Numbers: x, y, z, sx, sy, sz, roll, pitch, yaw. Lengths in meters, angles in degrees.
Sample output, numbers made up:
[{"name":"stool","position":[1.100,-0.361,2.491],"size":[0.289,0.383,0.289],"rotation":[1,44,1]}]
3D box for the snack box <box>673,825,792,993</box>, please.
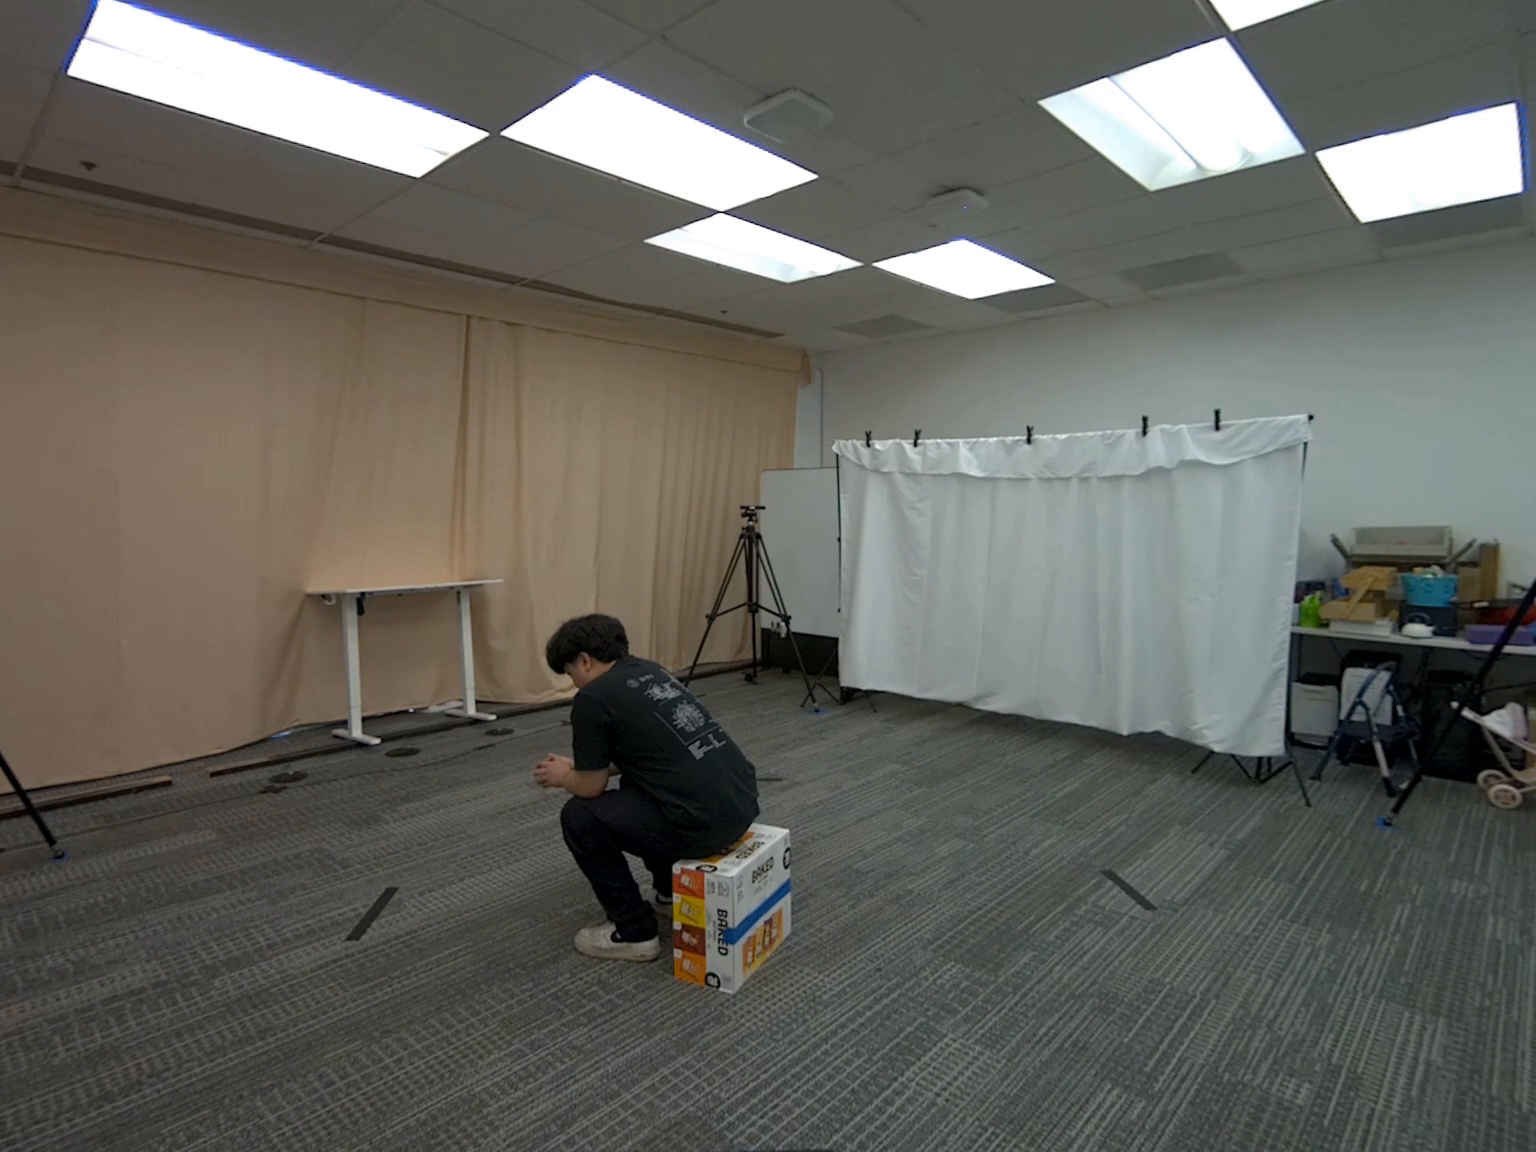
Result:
[{"name":"snack box","position":[-0.100,1.011,2.614],"size":[0.211,0.340,0.395],"rotation":[2,4,26]}]
